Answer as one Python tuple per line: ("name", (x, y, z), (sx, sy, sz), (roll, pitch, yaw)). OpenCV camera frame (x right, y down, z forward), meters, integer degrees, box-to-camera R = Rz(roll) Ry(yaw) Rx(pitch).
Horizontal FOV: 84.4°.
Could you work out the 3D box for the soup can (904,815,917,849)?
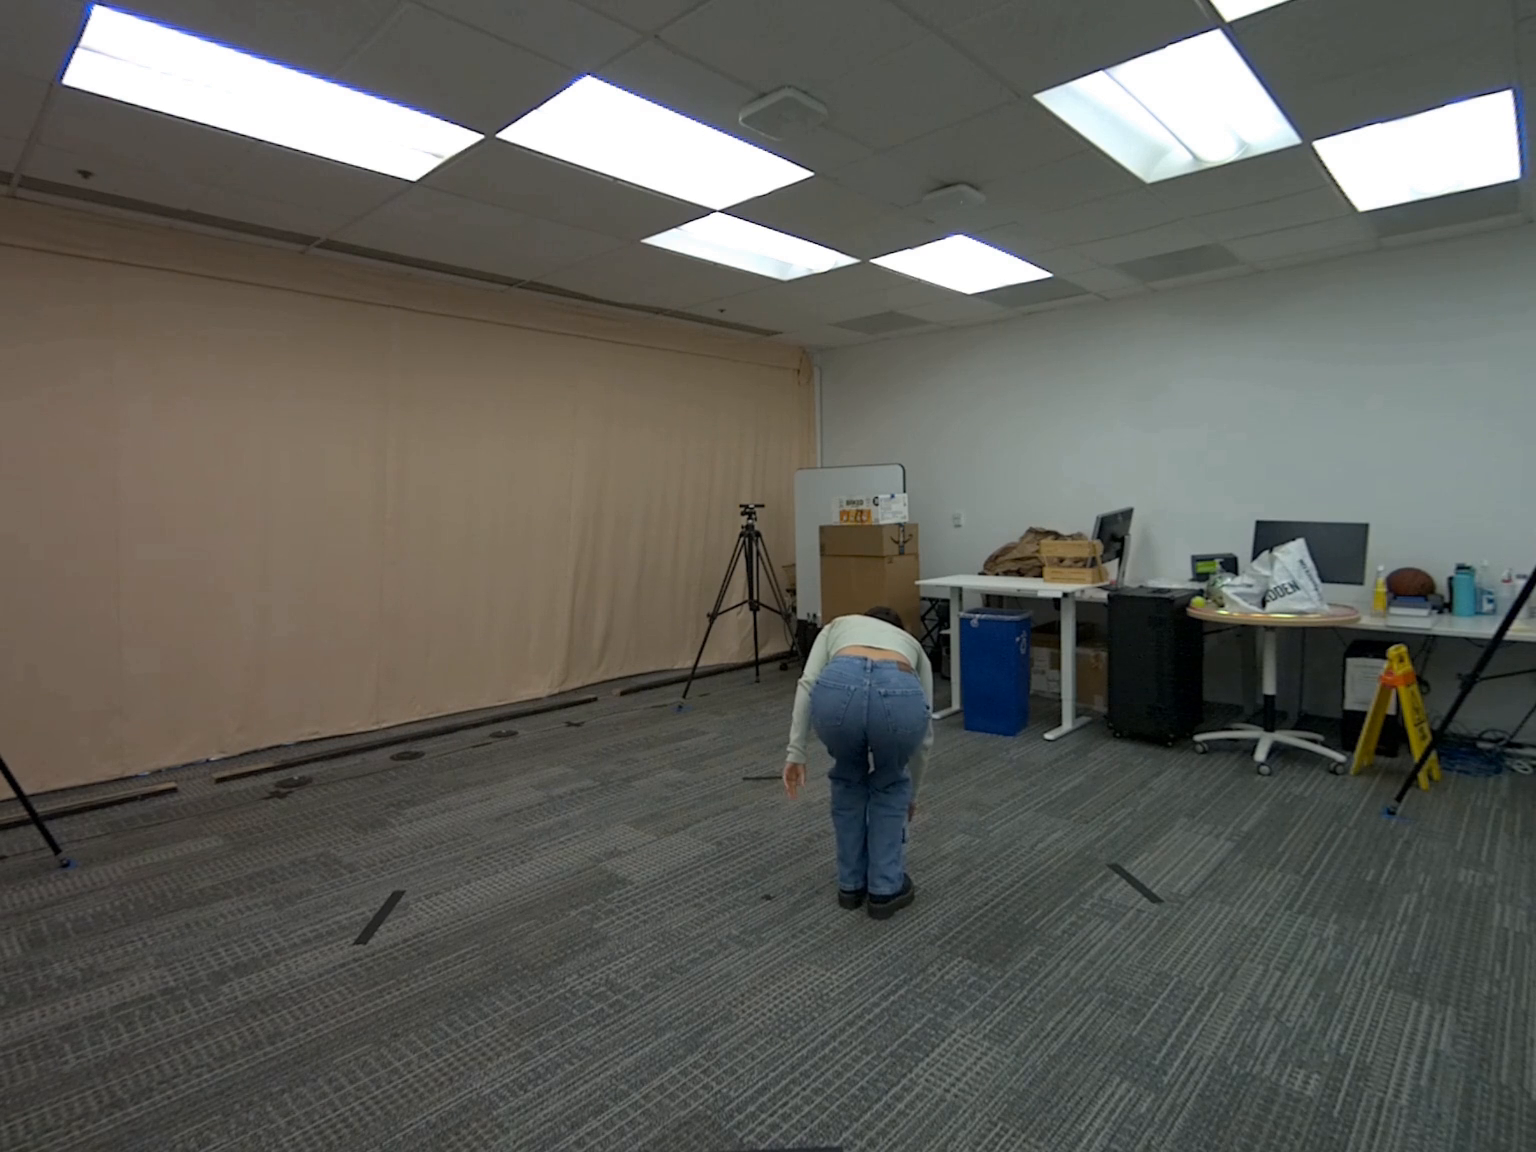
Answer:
("soup can", (0.525, 0.977, 3.279), (0.067, 0.121, 0.067), (7, 1, -2))
